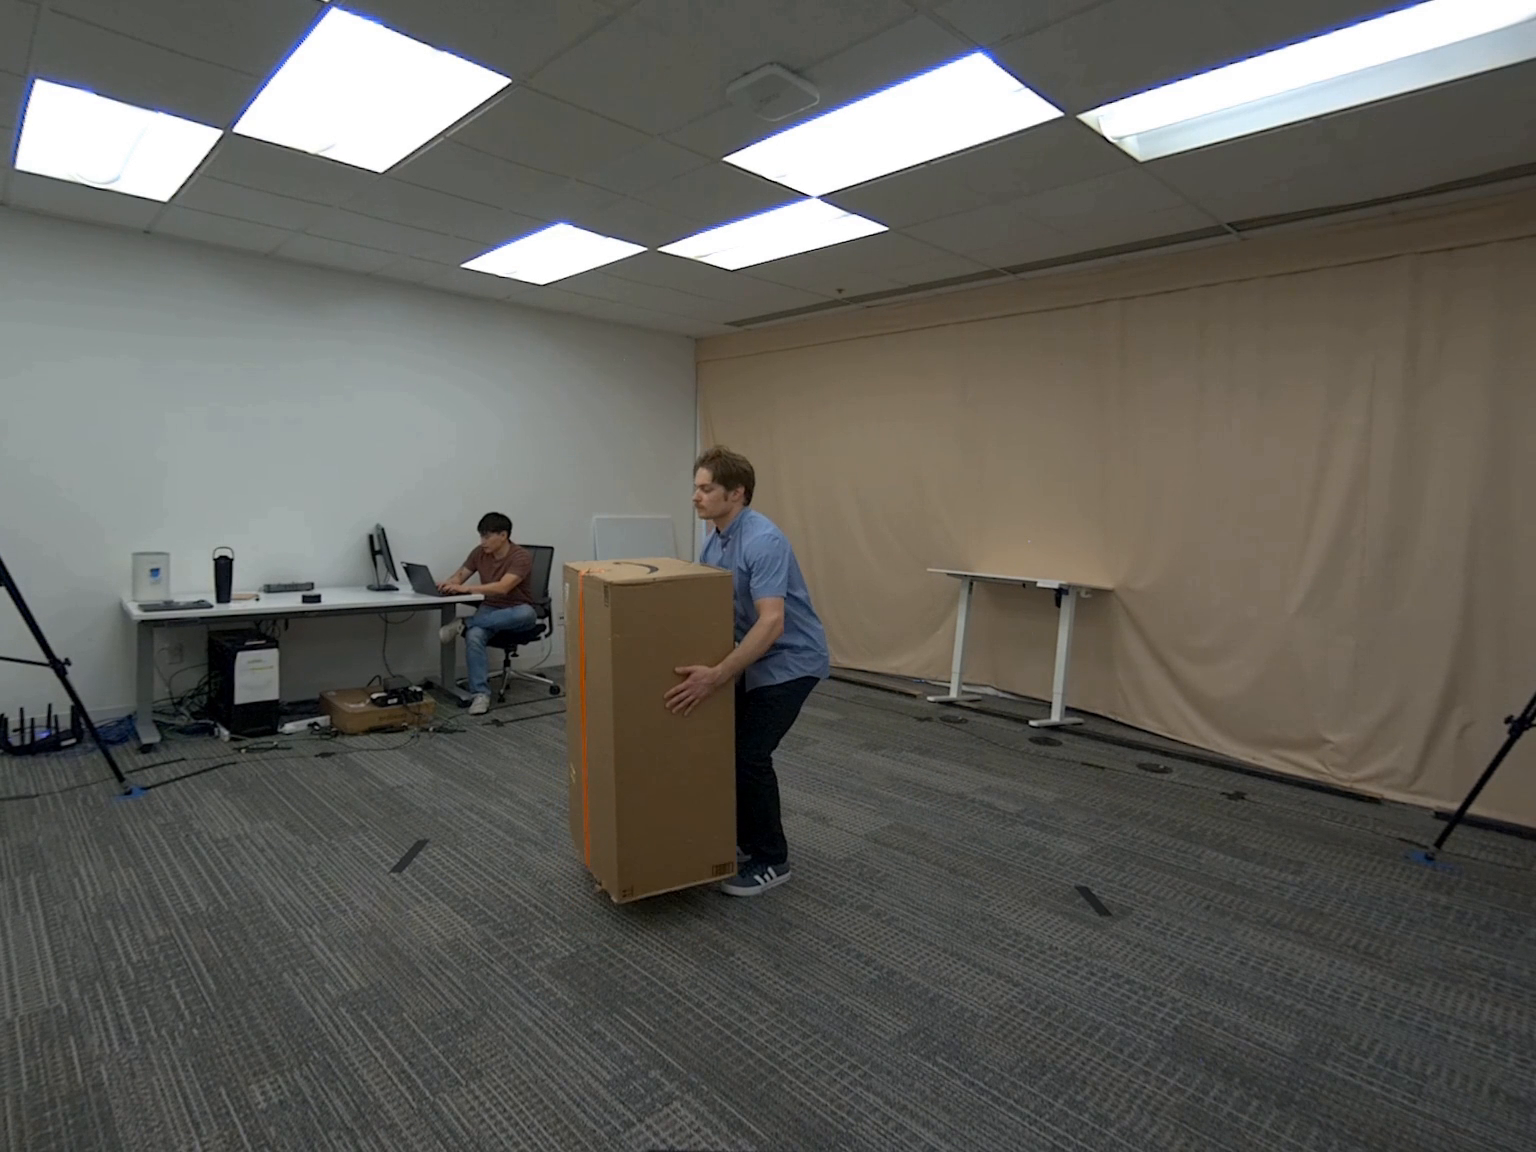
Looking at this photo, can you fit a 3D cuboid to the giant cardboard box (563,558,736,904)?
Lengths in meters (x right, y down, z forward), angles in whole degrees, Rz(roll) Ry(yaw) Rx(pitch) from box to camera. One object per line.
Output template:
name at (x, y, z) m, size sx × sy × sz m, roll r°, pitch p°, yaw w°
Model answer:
giant cardboard box at (-0.432, 0.479, 2.914) m, size 0.419 × 1.022 × 0.590 m, roll -3°, pitch 6°, yaw -26°
